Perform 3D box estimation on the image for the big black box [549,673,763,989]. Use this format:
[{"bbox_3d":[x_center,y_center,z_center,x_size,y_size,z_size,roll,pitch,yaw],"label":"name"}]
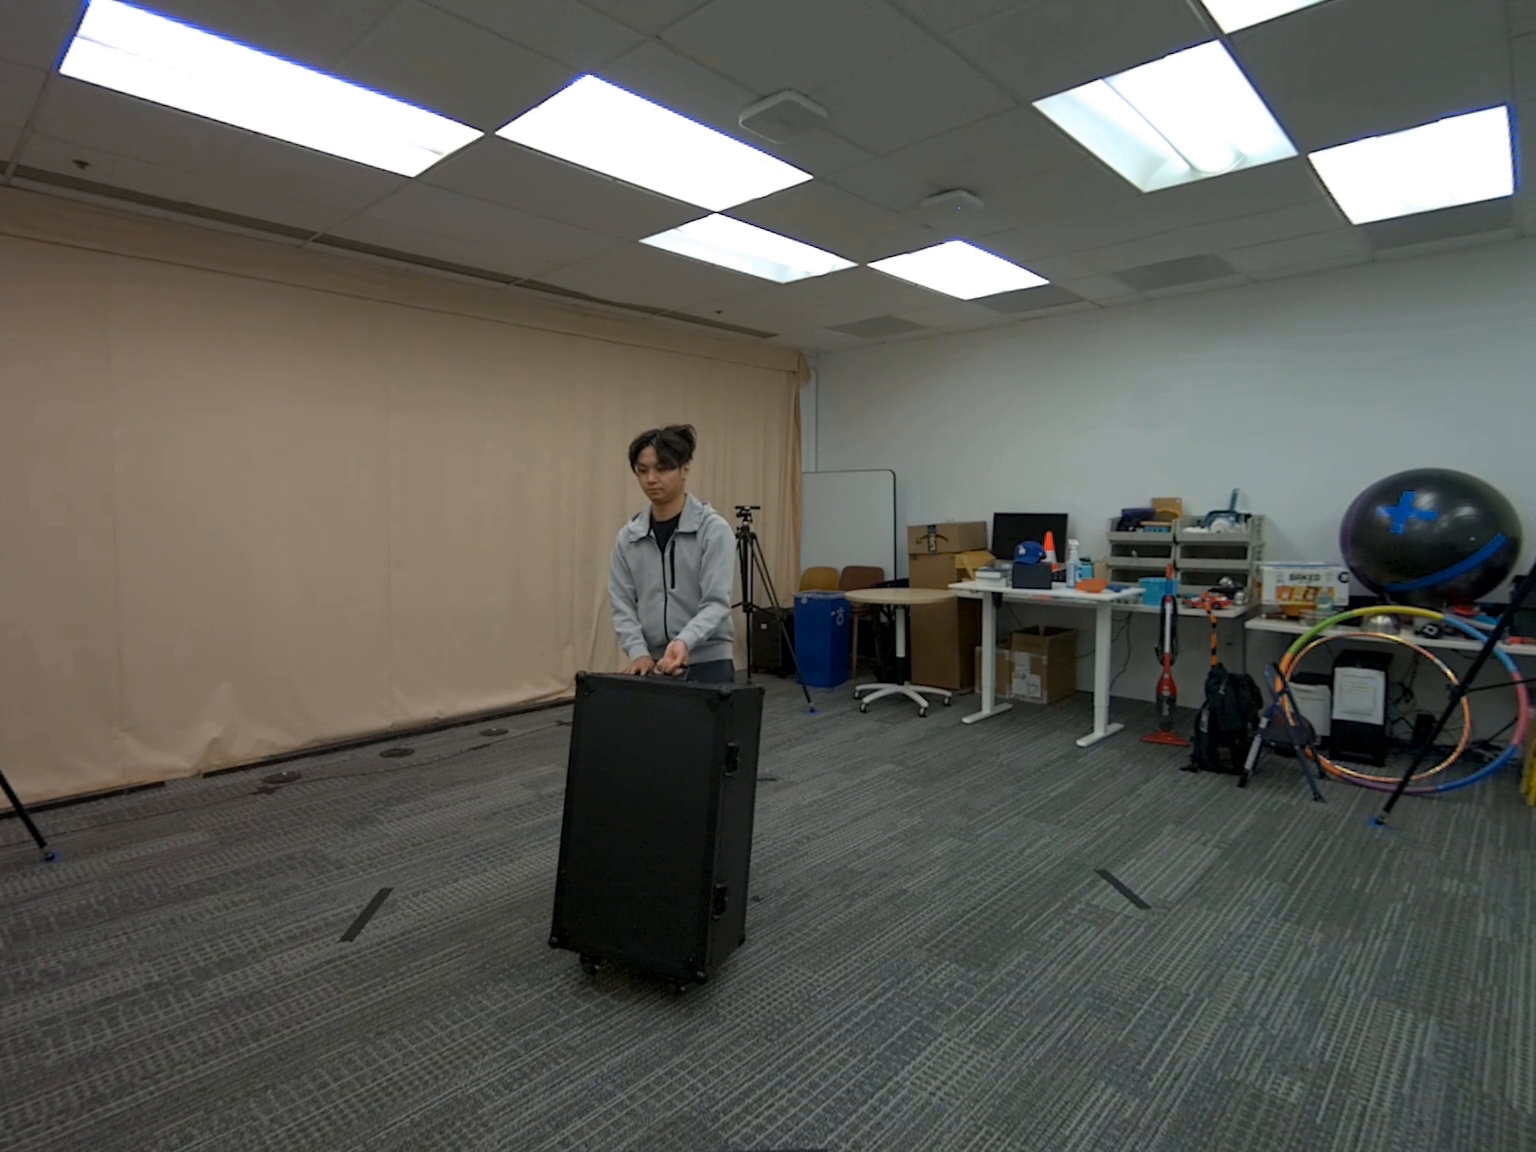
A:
[{"bbox_3d":[-0.321,0.740,2.545,0.532,0.864,0.386,3,-6,20],"label":"big black box"}]
